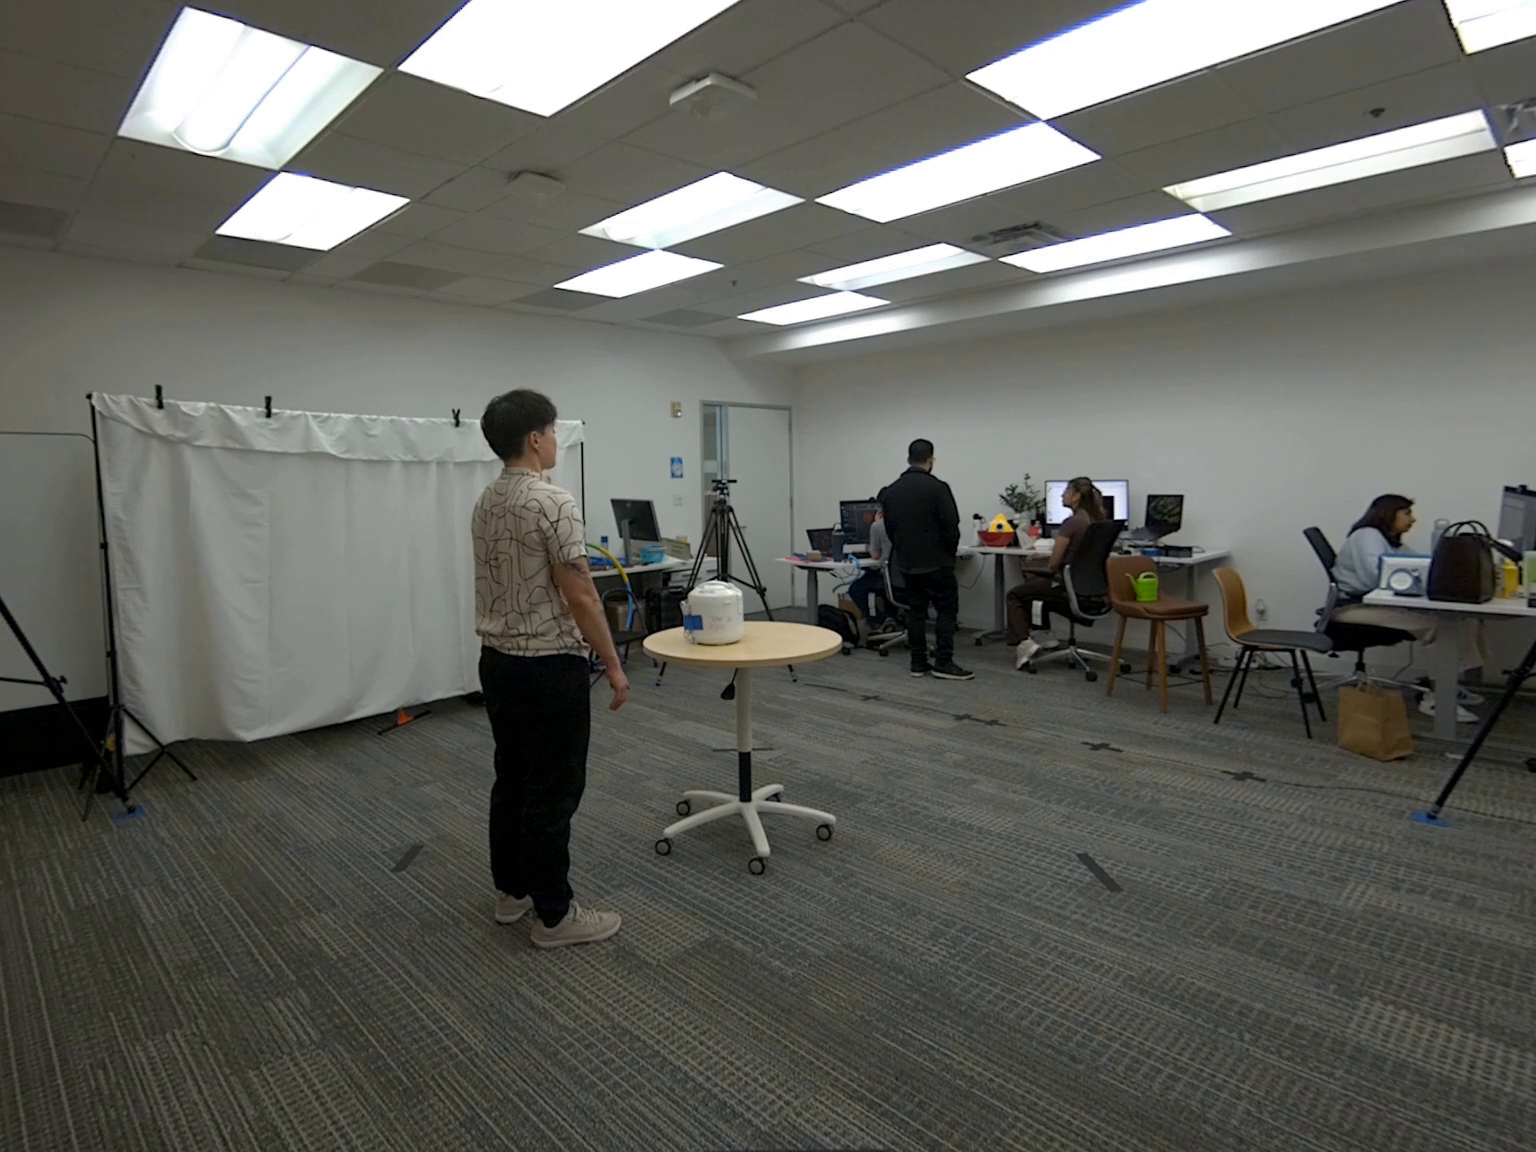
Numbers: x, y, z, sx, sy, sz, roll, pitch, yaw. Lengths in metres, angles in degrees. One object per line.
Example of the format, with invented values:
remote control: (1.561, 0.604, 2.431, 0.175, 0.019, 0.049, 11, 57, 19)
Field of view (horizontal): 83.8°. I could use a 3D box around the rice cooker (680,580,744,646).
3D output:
rice cooker: (-0.195, 0.134, 3.271, 0.226, 0.232, 0.213, 1, 6, 26)
